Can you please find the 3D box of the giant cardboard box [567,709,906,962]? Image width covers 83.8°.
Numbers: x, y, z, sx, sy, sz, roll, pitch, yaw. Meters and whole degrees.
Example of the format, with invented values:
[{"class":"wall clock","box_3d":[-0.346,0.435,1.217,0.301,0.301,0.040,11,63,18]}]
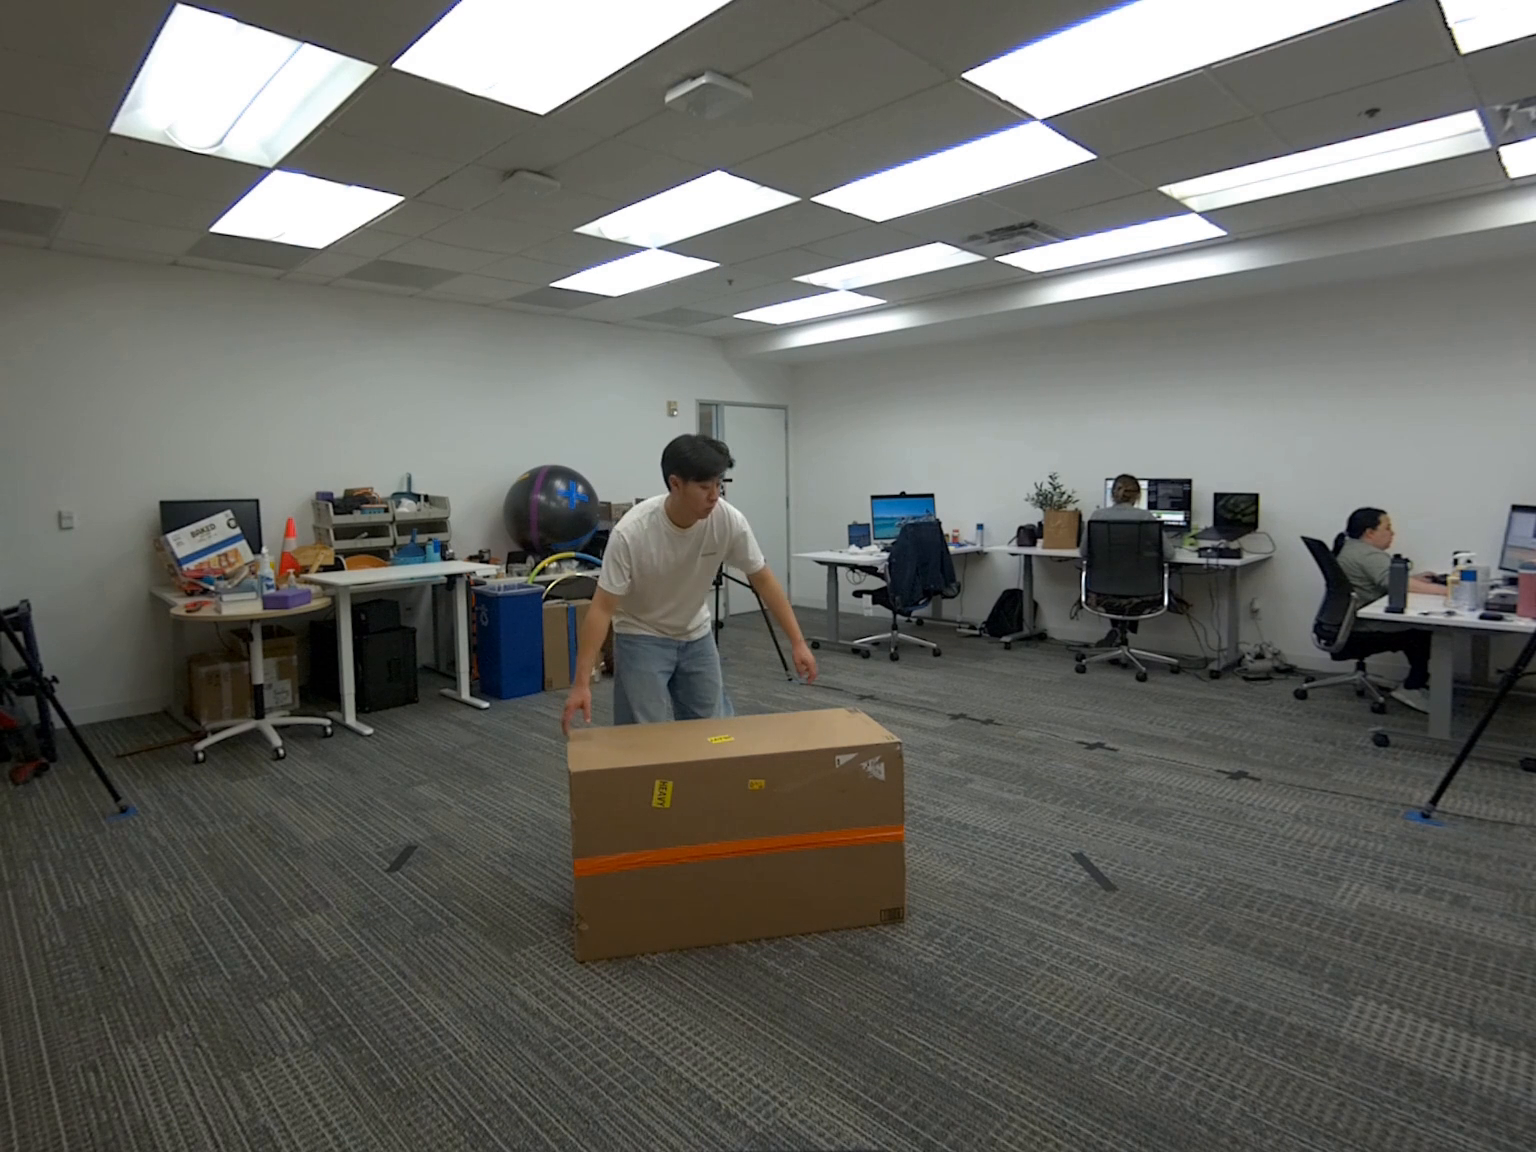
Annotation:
[{"class":"giant cardboard box","box_3d":[-0.117,0.793,2.762,1.015,0.576,0.432,-3,4,-11]}]
